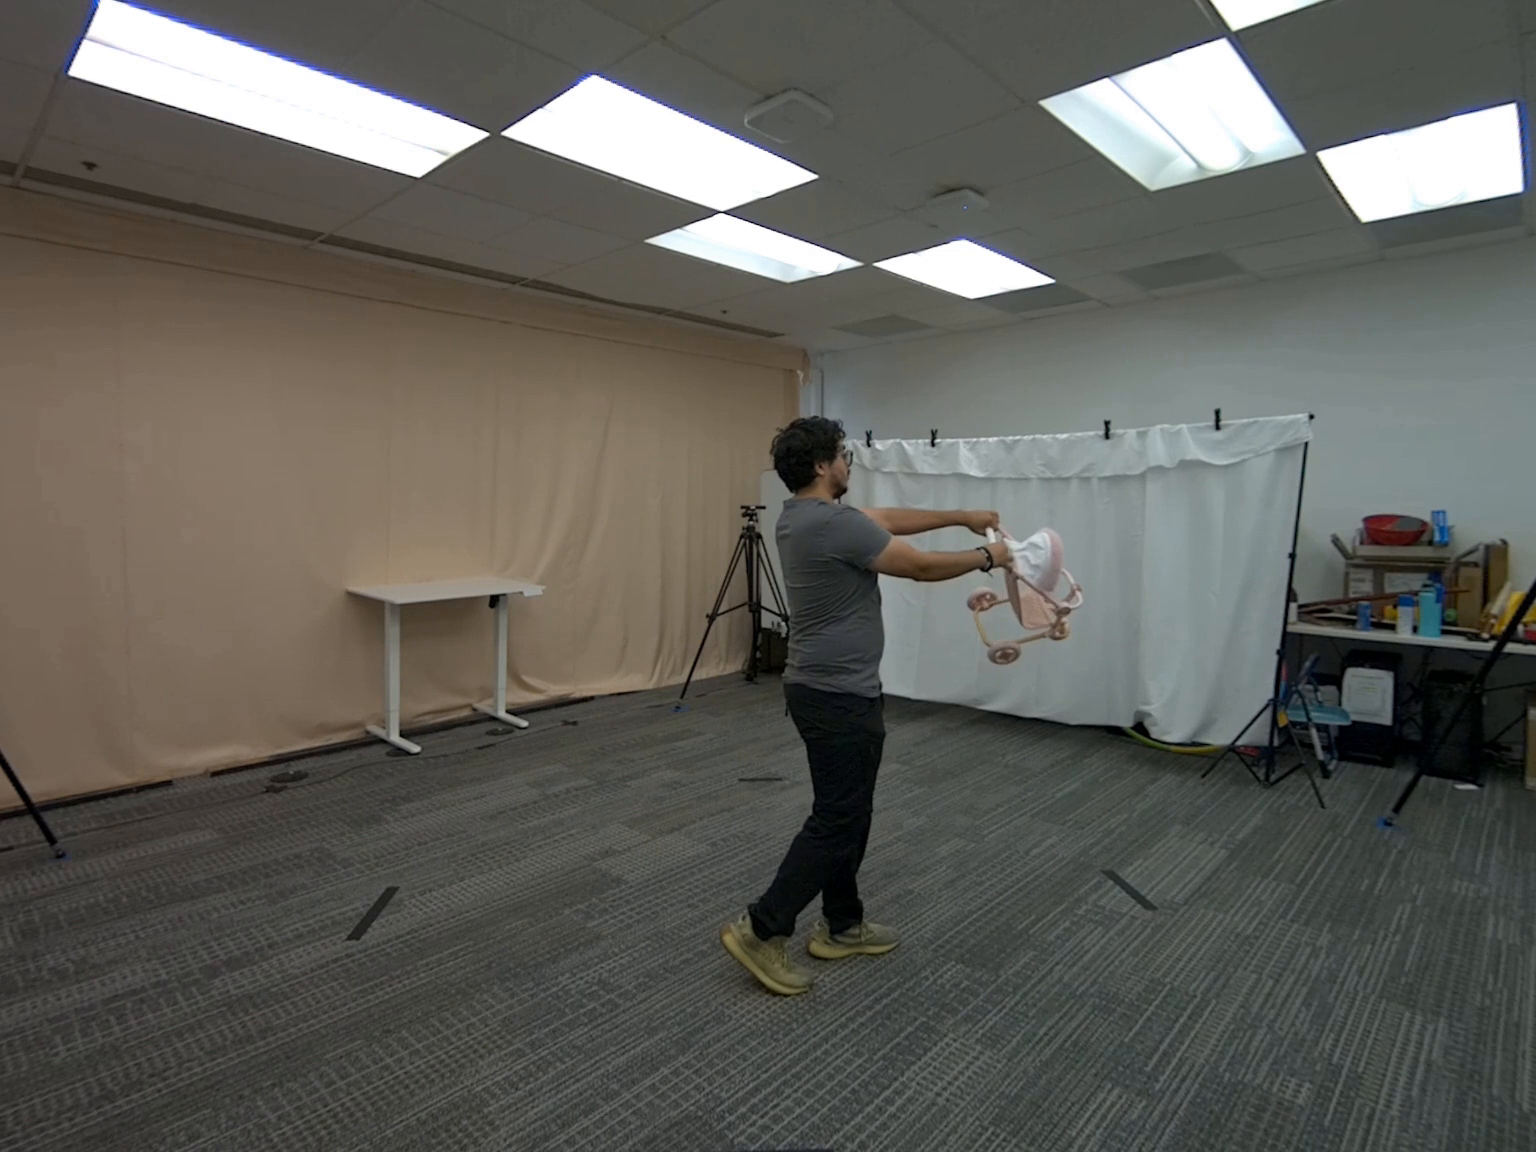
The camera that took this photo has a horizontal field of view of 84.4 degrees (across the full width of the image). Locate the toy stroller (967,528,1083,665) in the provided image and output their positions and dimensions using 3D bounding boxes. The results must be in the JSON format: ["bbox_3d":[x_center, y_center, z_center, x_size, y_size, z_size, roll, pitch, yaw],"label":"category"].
[{"bbox_3d":[0.884,0.054,2.804,0.343,0.523,0.286,-3,42,4],"label":"toy stroller"}]
